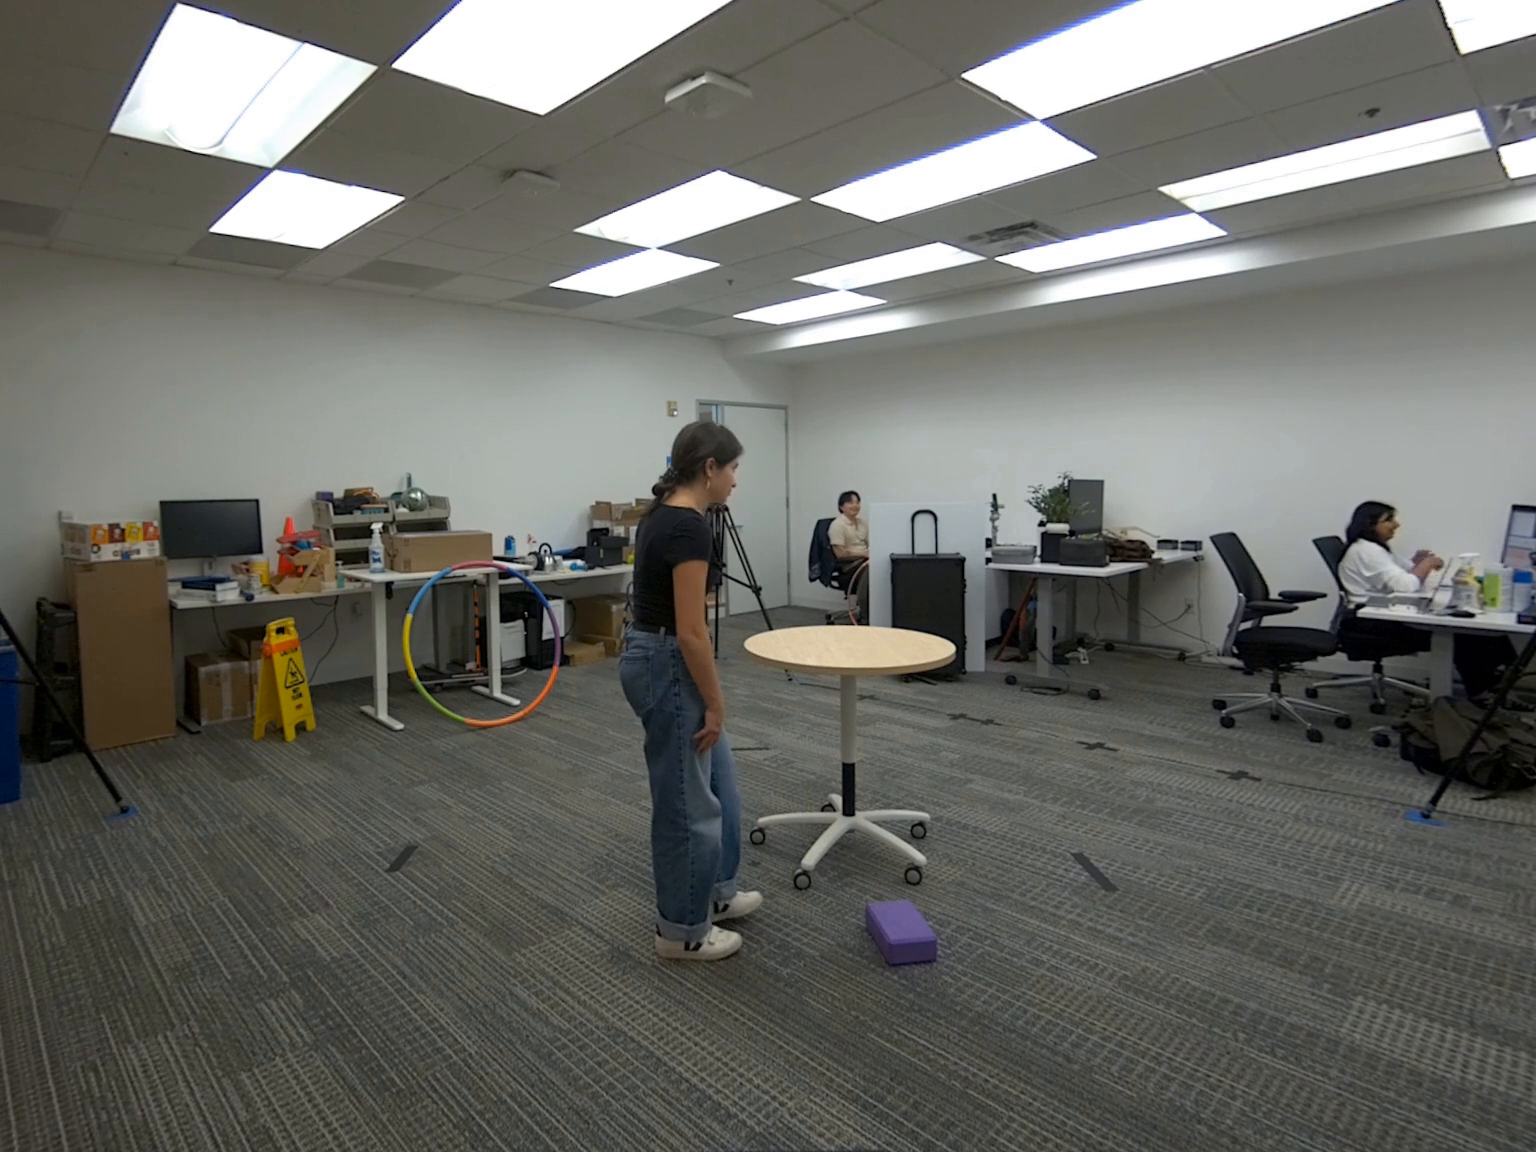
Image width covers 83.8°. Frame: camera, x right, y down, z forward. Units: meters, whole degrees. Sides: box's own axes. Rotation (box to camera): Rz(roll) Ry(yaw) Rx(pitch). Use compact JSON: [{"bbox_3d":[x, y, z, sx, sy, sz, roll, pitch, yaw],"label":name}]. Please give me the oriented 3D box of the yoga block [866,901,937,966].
[{"bbox_3d":[0.397,1.061,2.550,0.148,0.076,0.232,-2,4,-10],"label":"yoga block"}]
